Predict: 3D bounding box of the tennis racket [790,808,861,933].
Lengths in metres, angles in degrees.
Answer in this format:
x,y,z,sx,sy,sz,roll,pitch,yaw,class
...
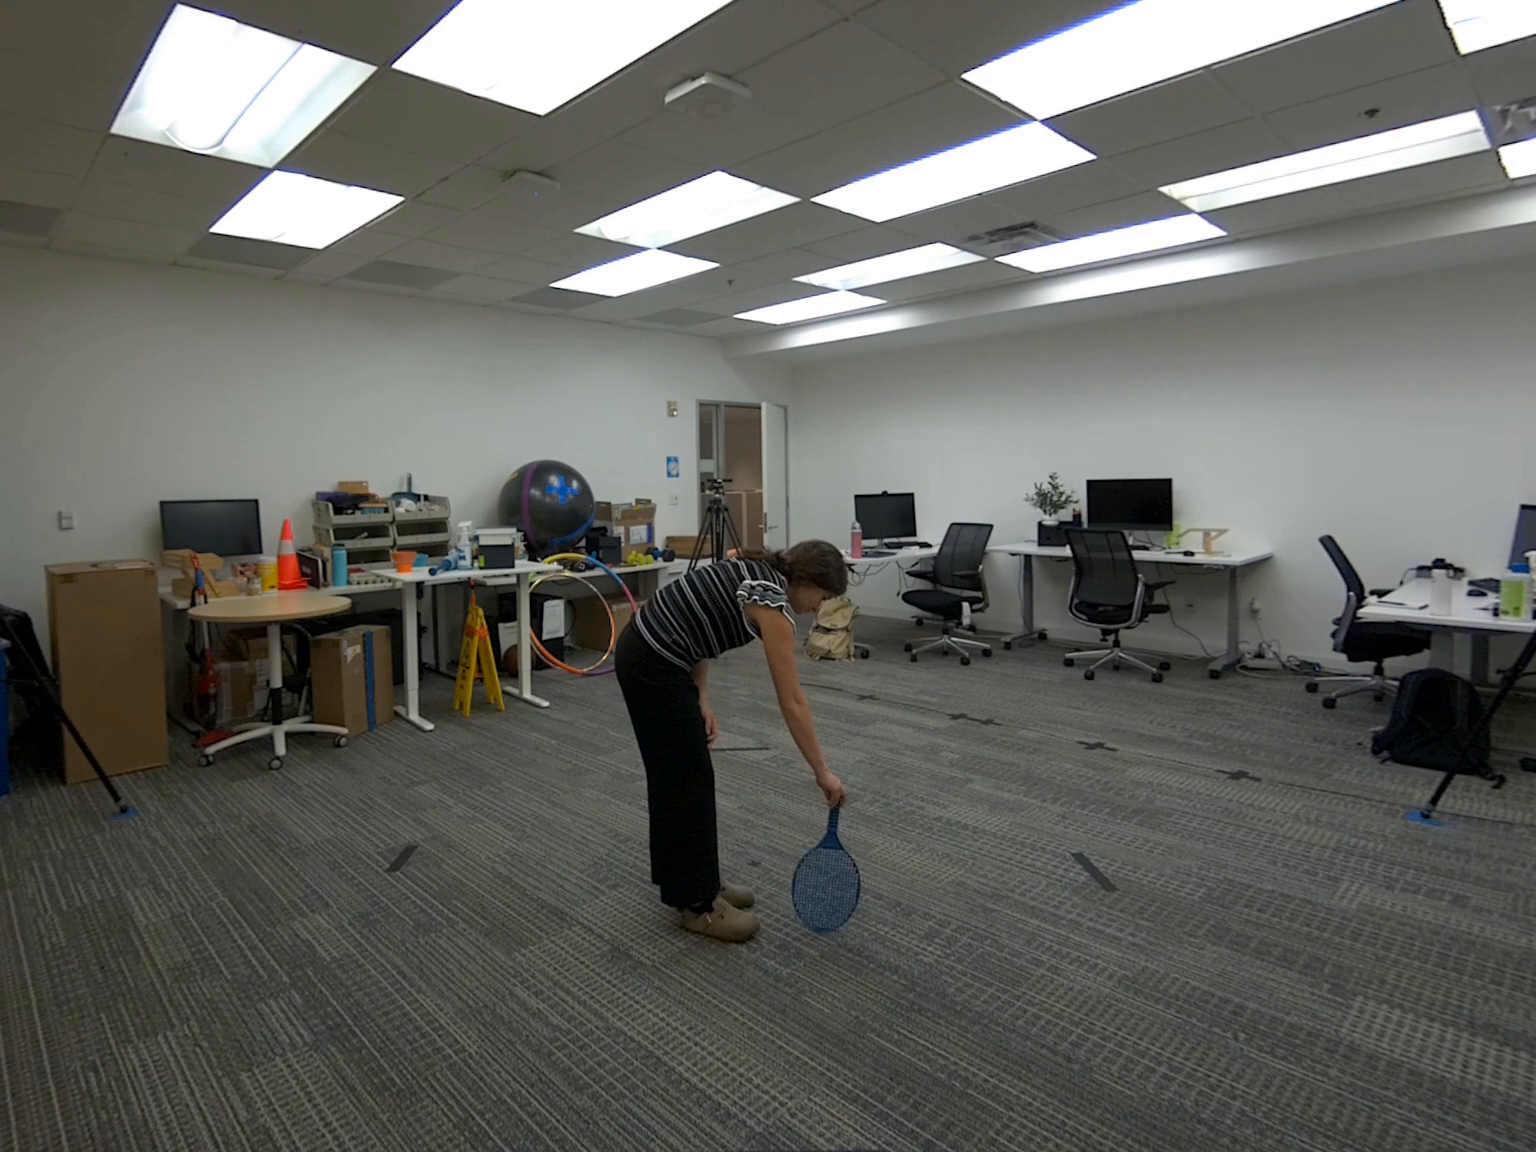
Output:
x,y,z,sx,sy,sz,roll,pitch,yaw,class
0.187,0.874,2.631,0.213,0.432,0.032,6,1,-1,tennis racket
